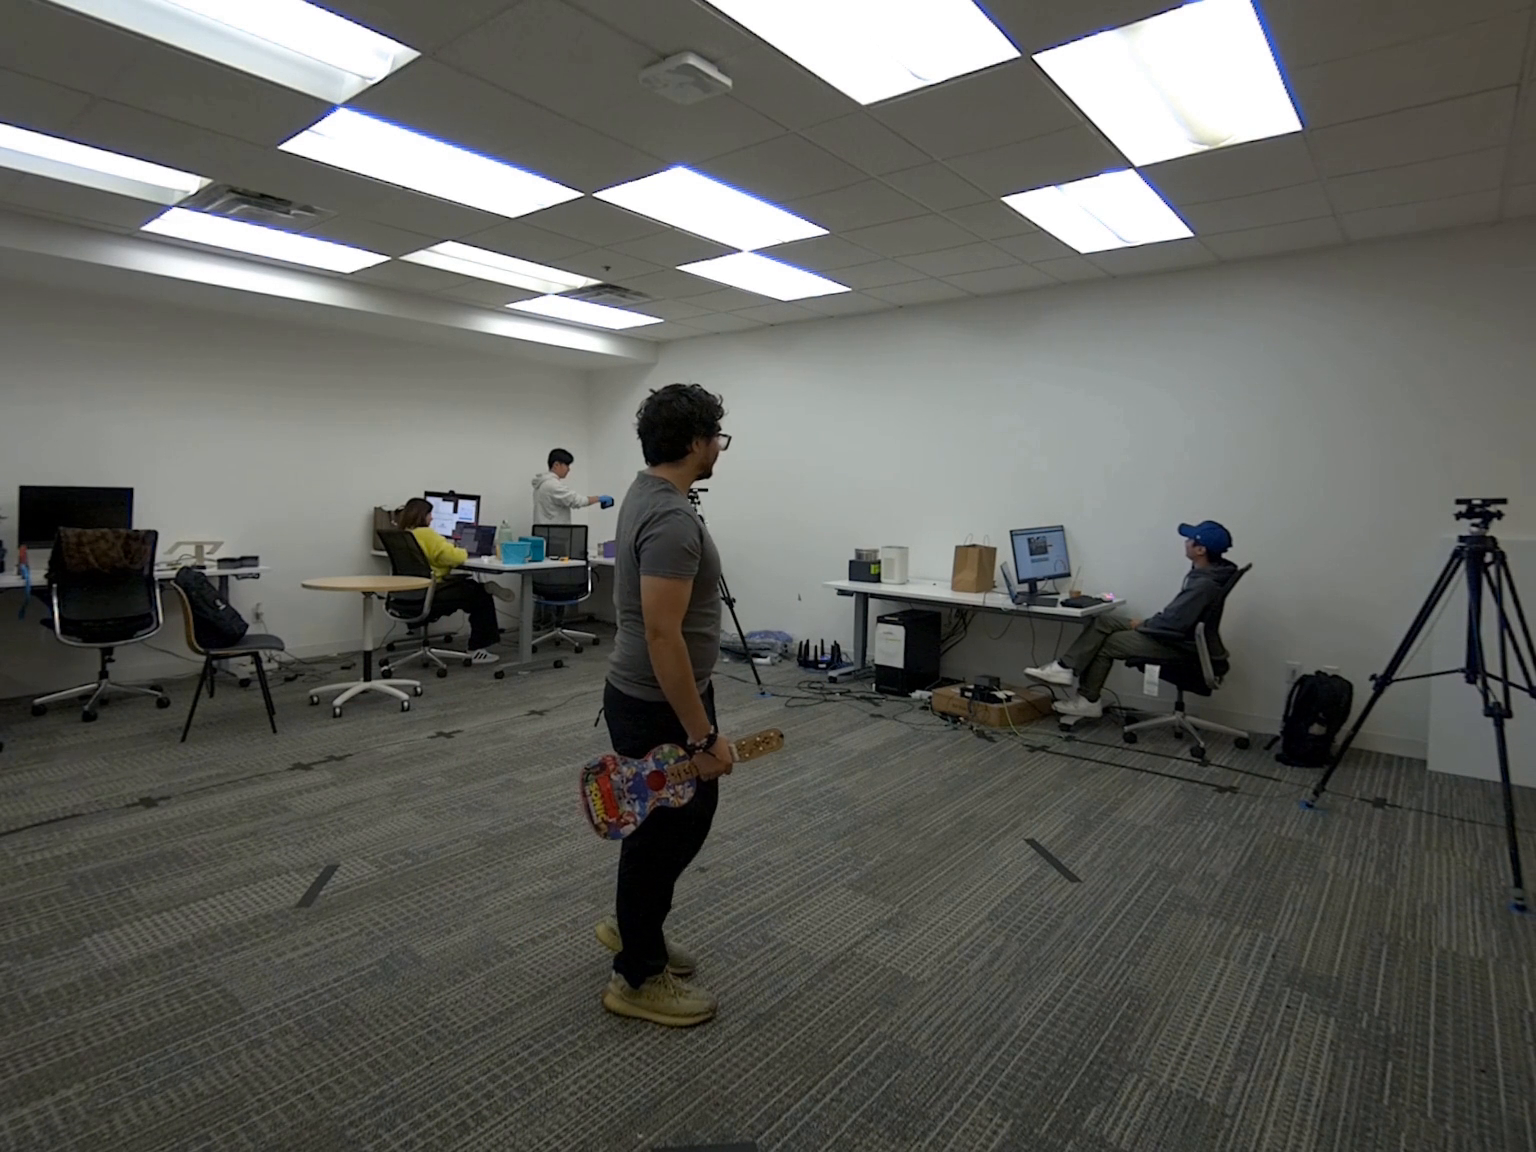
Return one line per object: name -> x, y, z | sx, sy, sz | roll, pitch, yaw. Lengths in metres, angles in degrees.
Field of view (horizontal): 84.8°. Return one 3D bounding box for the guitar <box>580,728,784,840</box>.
guitar -> -0.202, 0.490, 2.018 | 0.492, 0.196, 0.070 | -8, -12, -12
